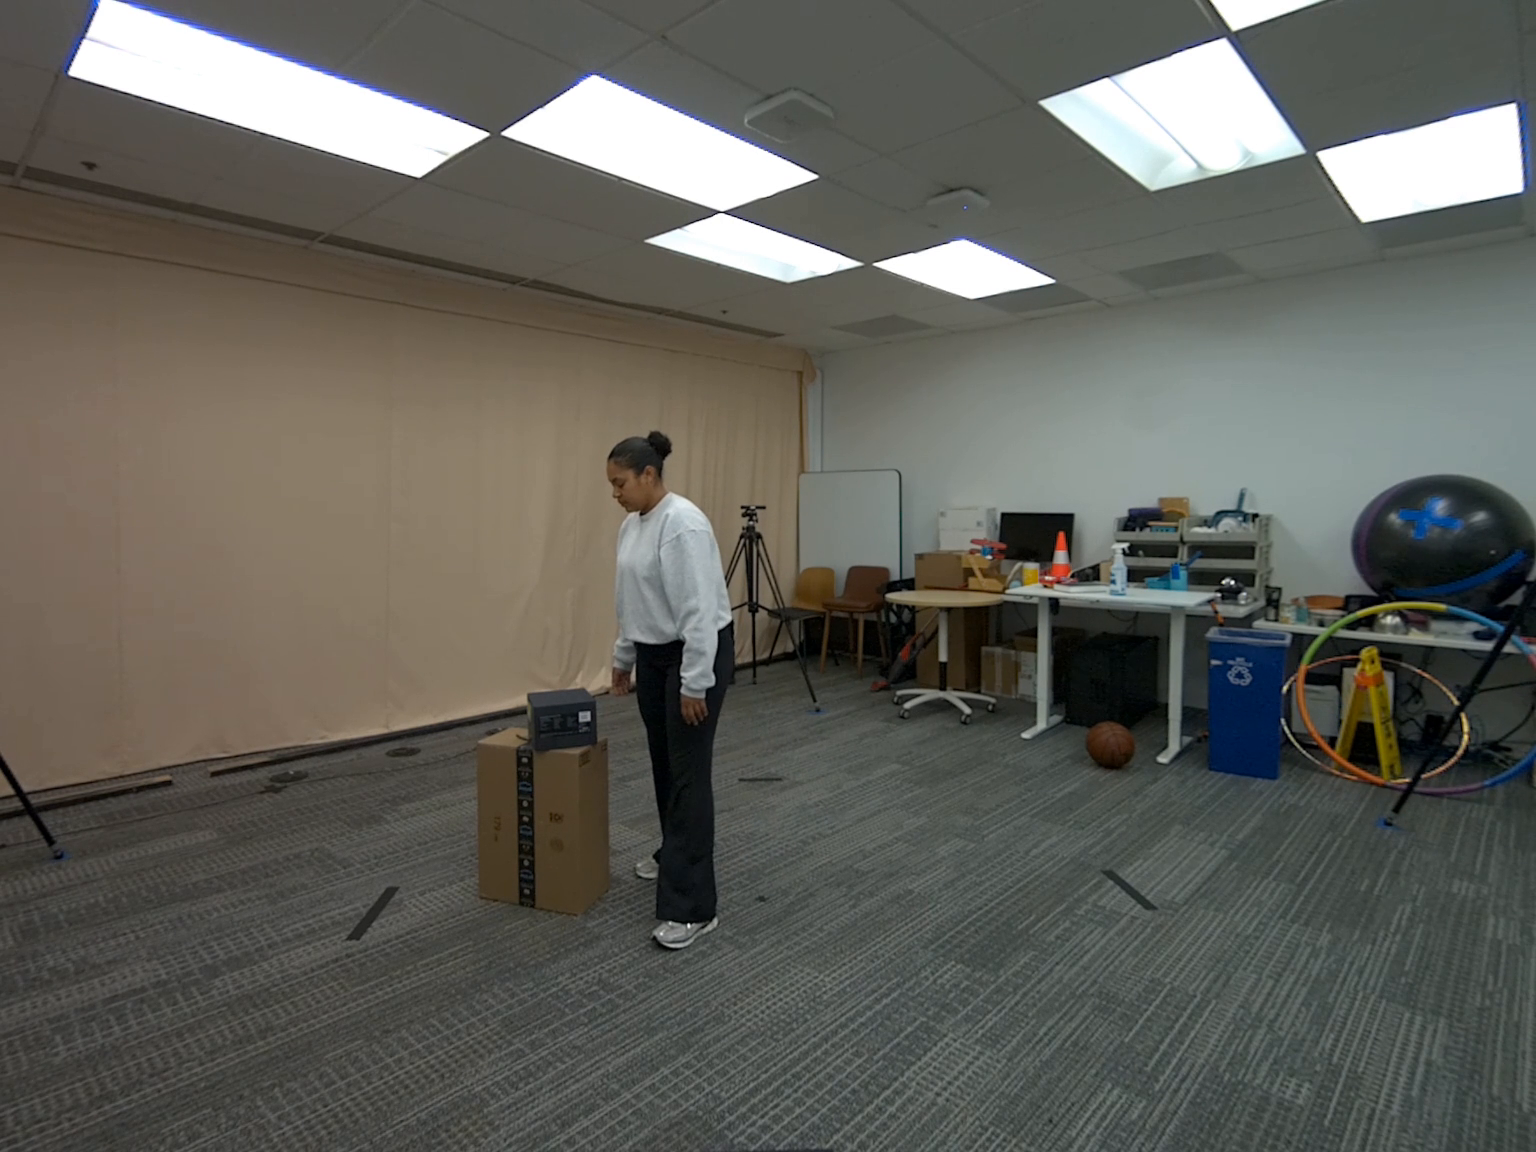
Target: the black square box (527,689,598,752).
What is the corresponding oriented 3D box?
[{"bbox_3d":[-0.737,0.507,2.992,0.213,0.155,0.233,-3,5,-21],"label":"black square box"}]
